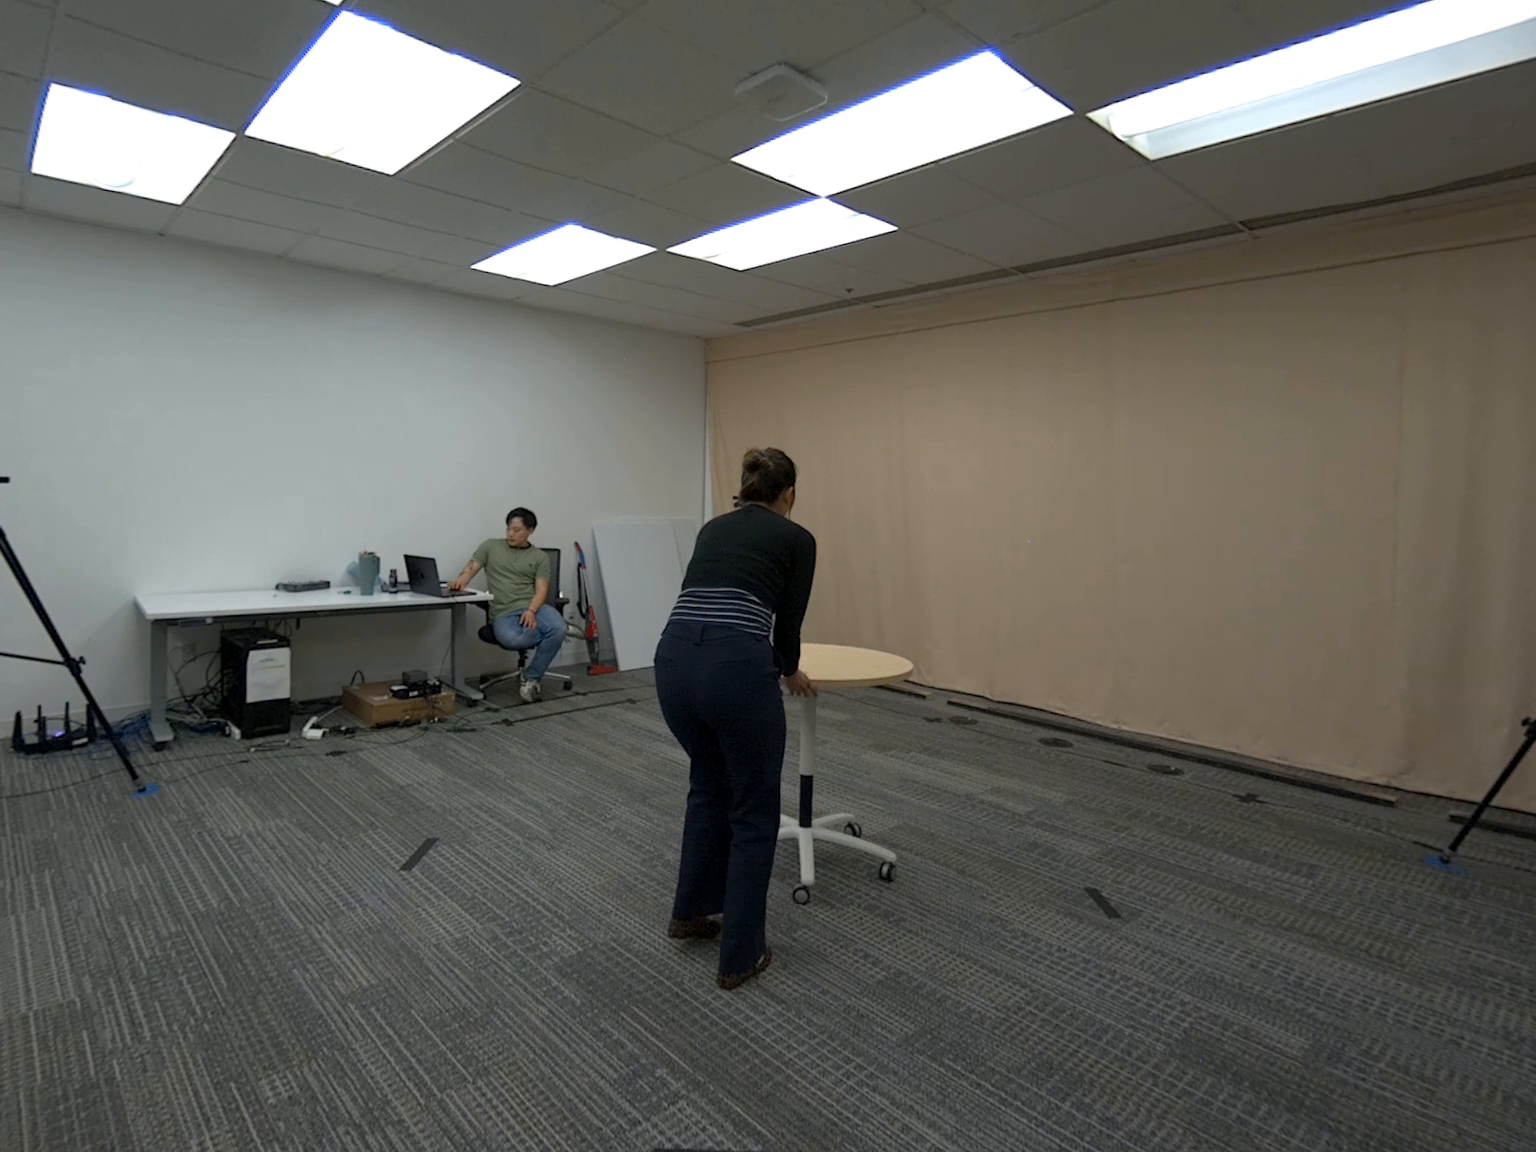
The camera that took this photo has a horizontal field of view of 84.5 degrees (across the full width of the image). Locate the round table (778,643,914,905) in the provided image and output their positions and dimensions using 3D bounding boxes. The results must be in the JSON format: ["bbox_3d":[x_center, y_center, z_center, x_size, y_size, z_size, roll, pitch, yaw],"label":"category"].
[{"bbox_3d":[0.147,0.709,3.220,0.763,0.792,0.766,2,4,-1],"label":"round table"}]
